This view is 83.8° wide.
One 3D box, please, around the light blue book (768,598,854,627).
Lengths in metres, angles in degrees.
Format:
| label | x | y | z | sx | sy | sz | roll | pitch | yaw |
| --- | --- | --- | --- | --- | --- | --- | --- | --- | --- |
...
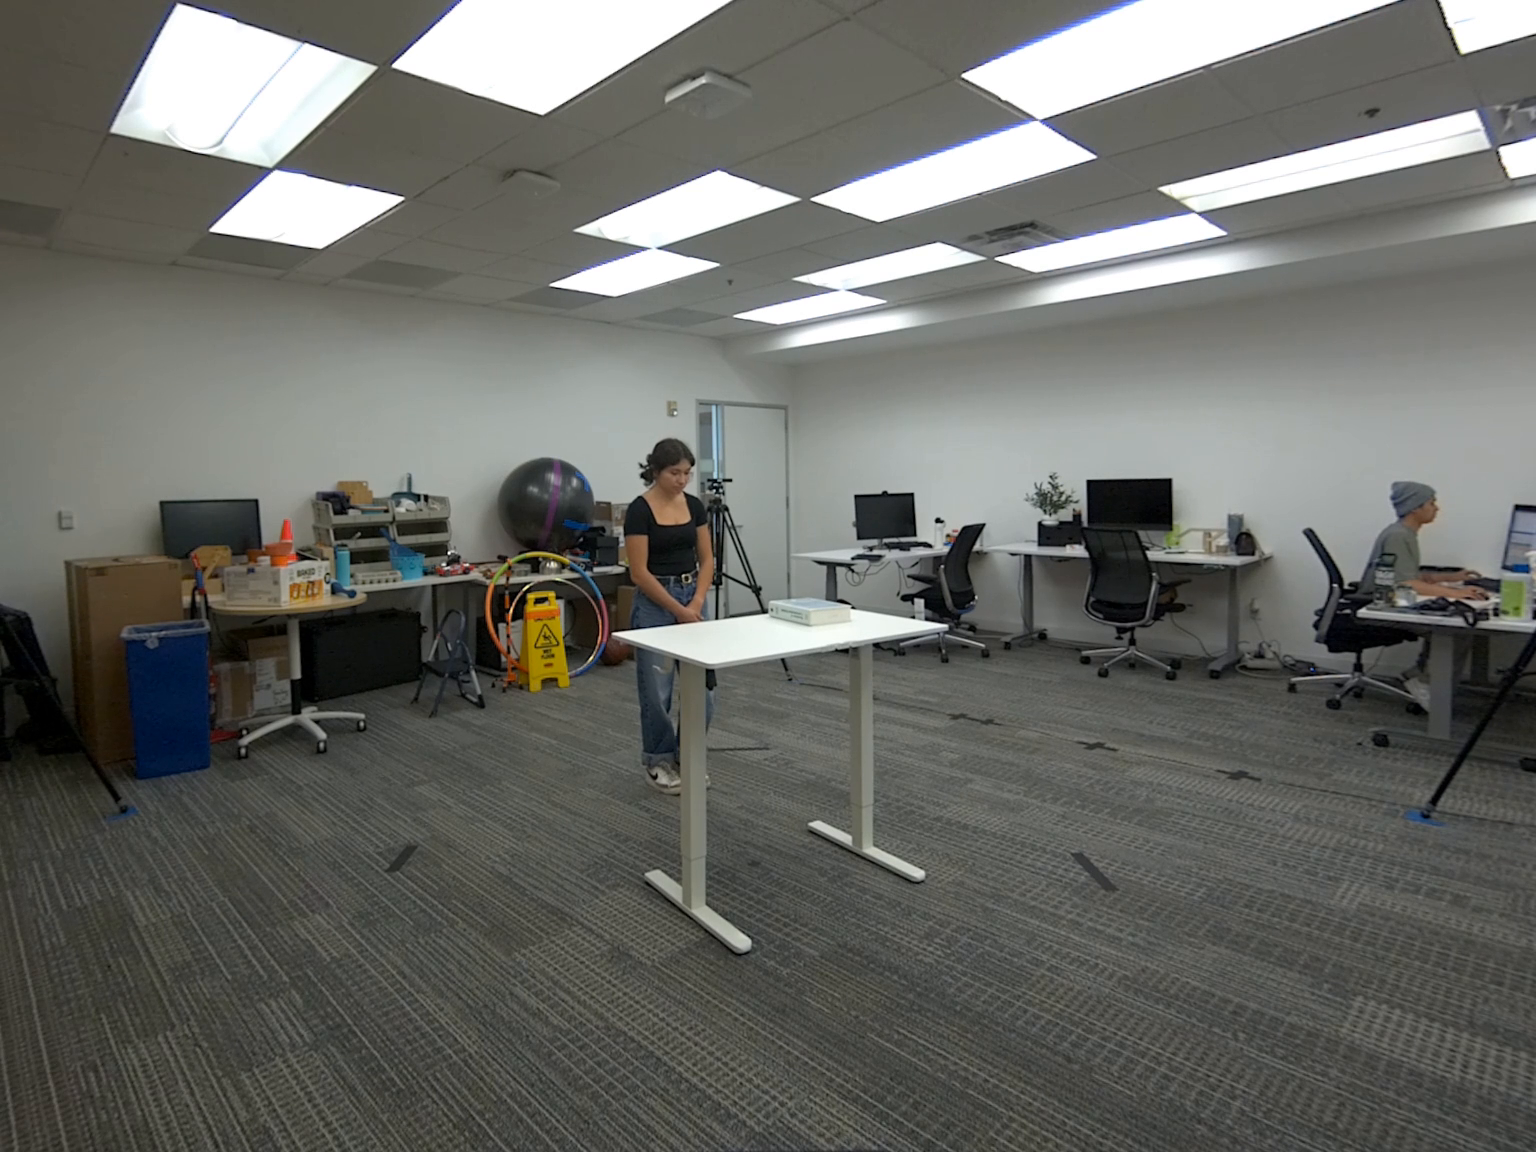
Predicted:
| label | x | y | z | sx | sy | sz | roll | pitch | yaw |
| --- | --- | --- | --- | --- | --- | --- | --- | --- | --- |
| light blue book | 0.156 | 0.127 | 3.127 | 0.187 | 0.059 | 0.268 | -4 | 7 | -33 |
